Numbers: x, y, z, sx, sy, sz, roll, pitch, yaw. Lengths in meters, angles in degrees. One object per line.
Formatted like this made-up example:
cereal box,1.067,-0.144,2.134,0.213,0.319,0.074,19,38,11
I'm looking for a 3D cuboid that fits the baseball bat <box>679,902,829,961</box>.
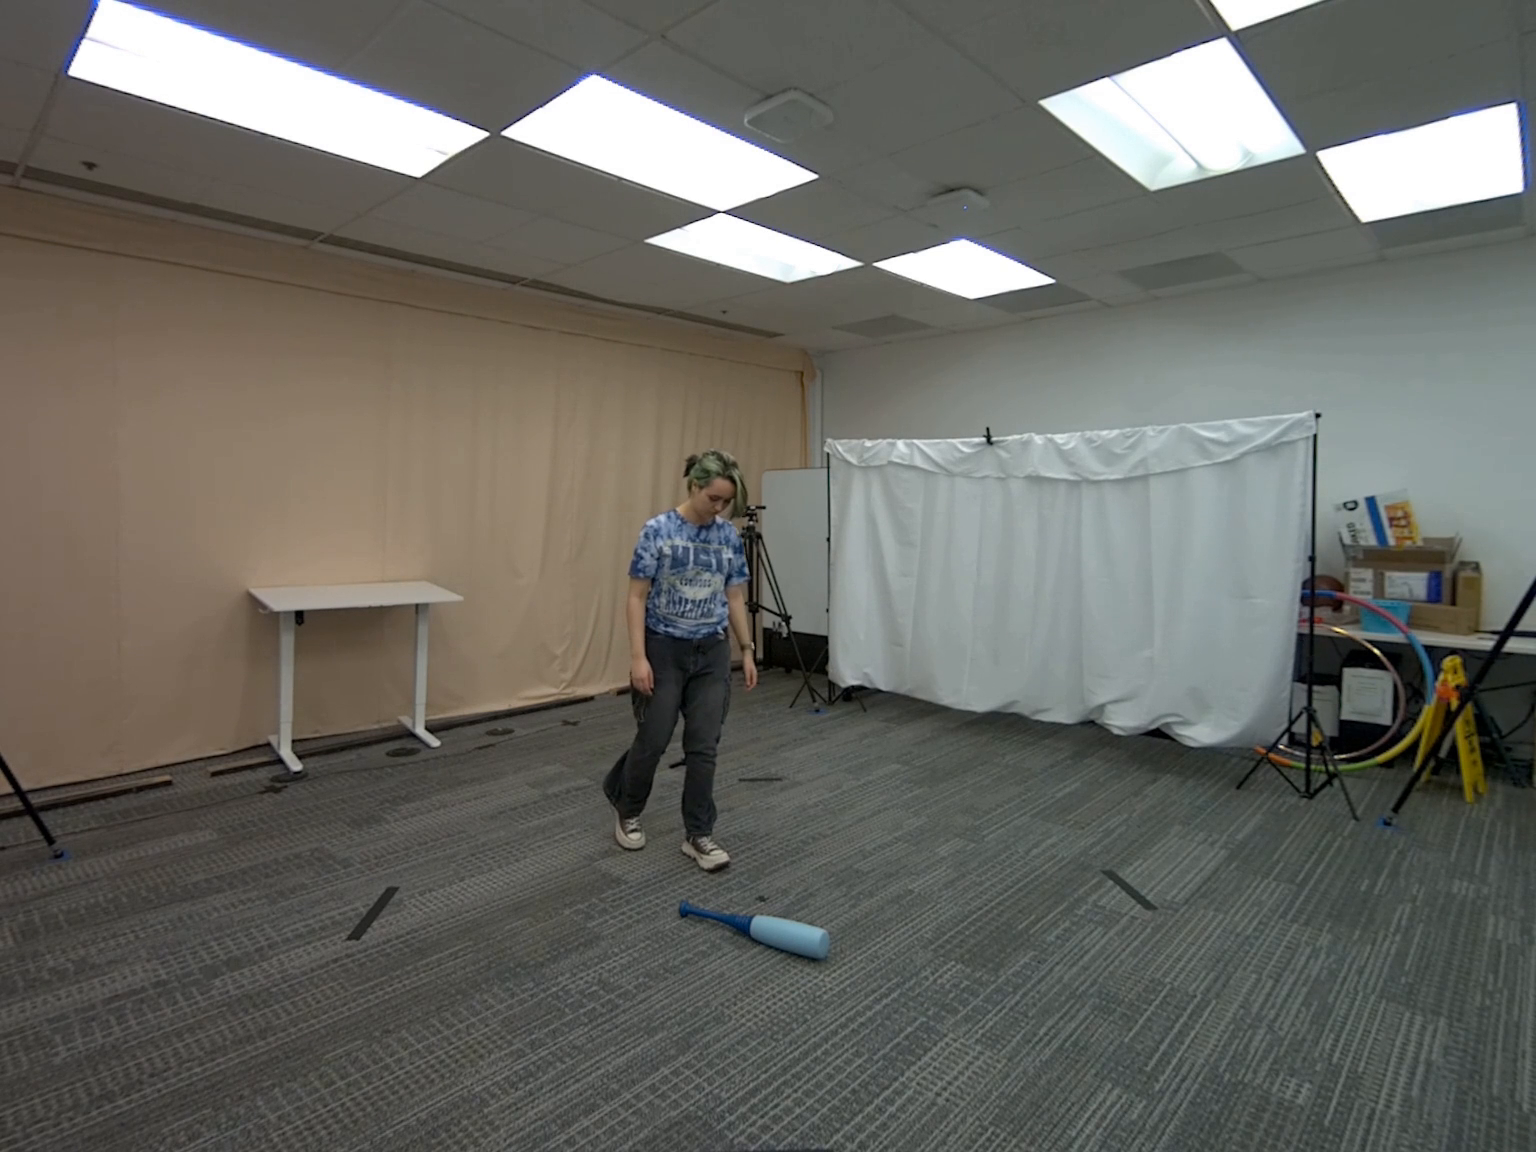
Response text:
baseball bat,-0.059,1.132,2.713,0.558,0.089,0.086,-1,3,31
